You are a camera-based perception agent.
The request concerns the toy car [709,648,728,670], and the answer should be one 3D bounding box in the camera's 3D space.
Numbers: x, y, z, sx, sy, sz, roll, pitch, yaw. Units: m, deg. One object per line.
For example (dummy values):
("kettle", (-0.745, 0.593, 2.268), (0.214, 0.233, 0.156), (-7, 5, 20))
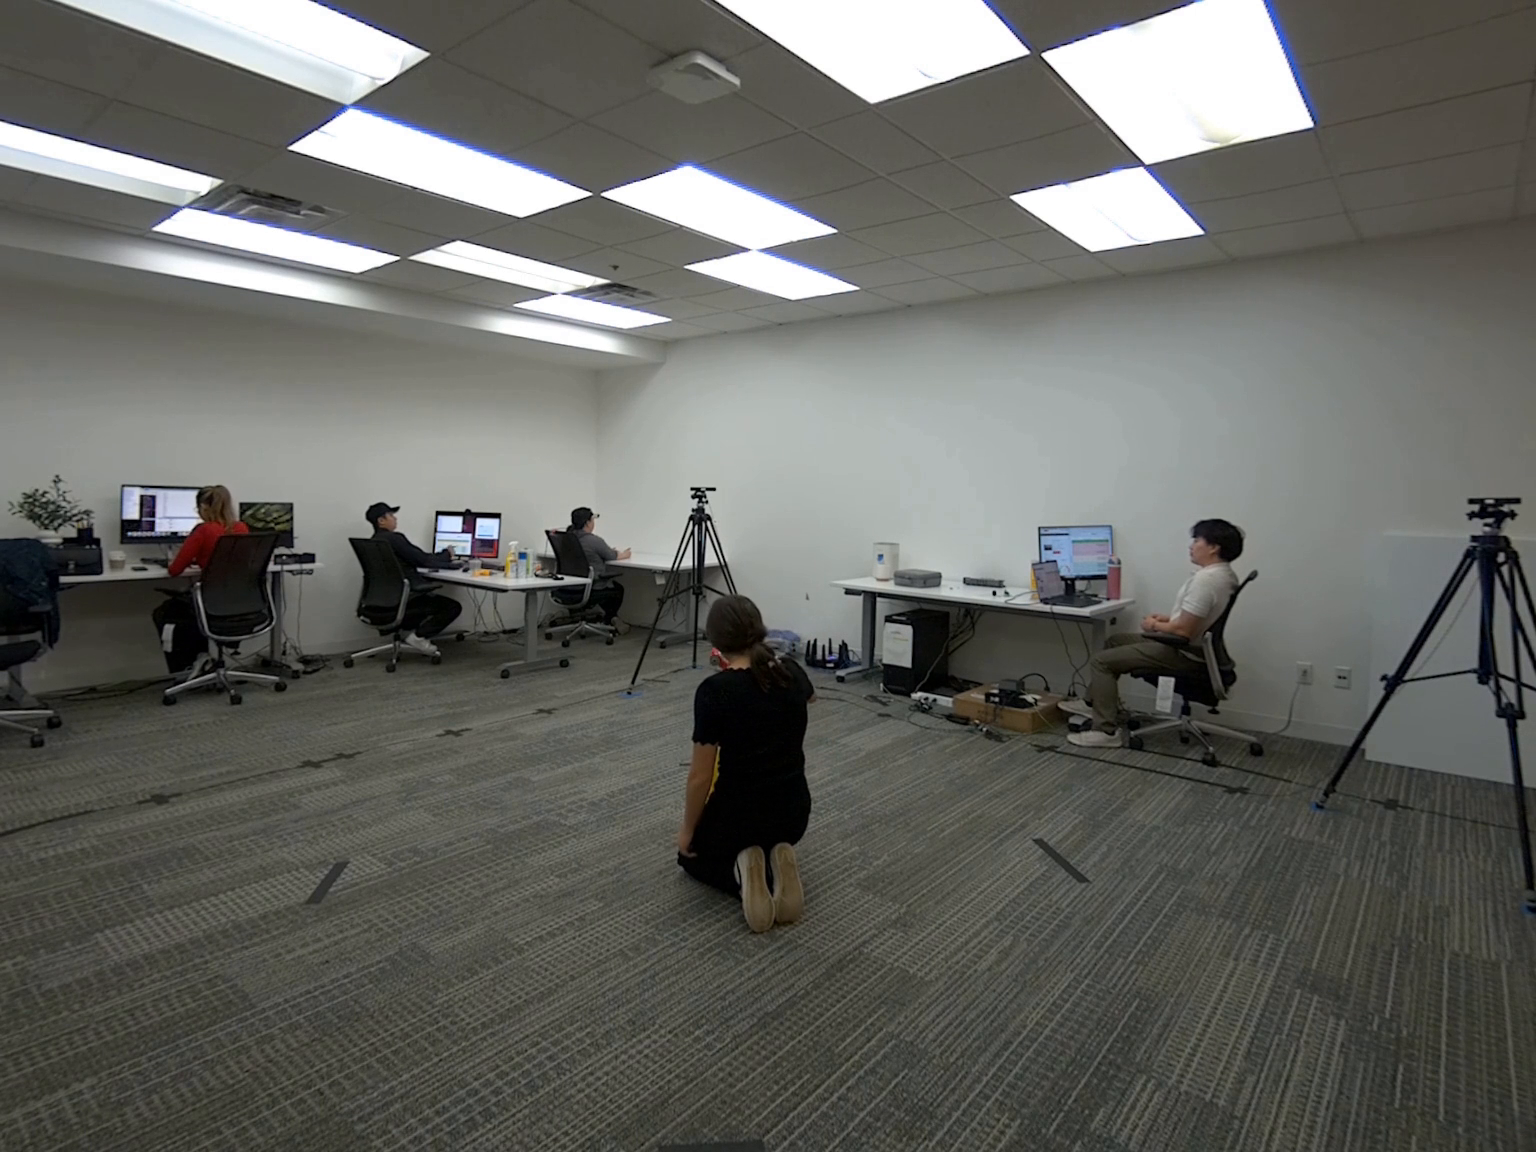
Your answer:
("toy car", (-0.140, 0.381, 3.343), (0.254, 0.083, 0.130), (33, 2, -1))
